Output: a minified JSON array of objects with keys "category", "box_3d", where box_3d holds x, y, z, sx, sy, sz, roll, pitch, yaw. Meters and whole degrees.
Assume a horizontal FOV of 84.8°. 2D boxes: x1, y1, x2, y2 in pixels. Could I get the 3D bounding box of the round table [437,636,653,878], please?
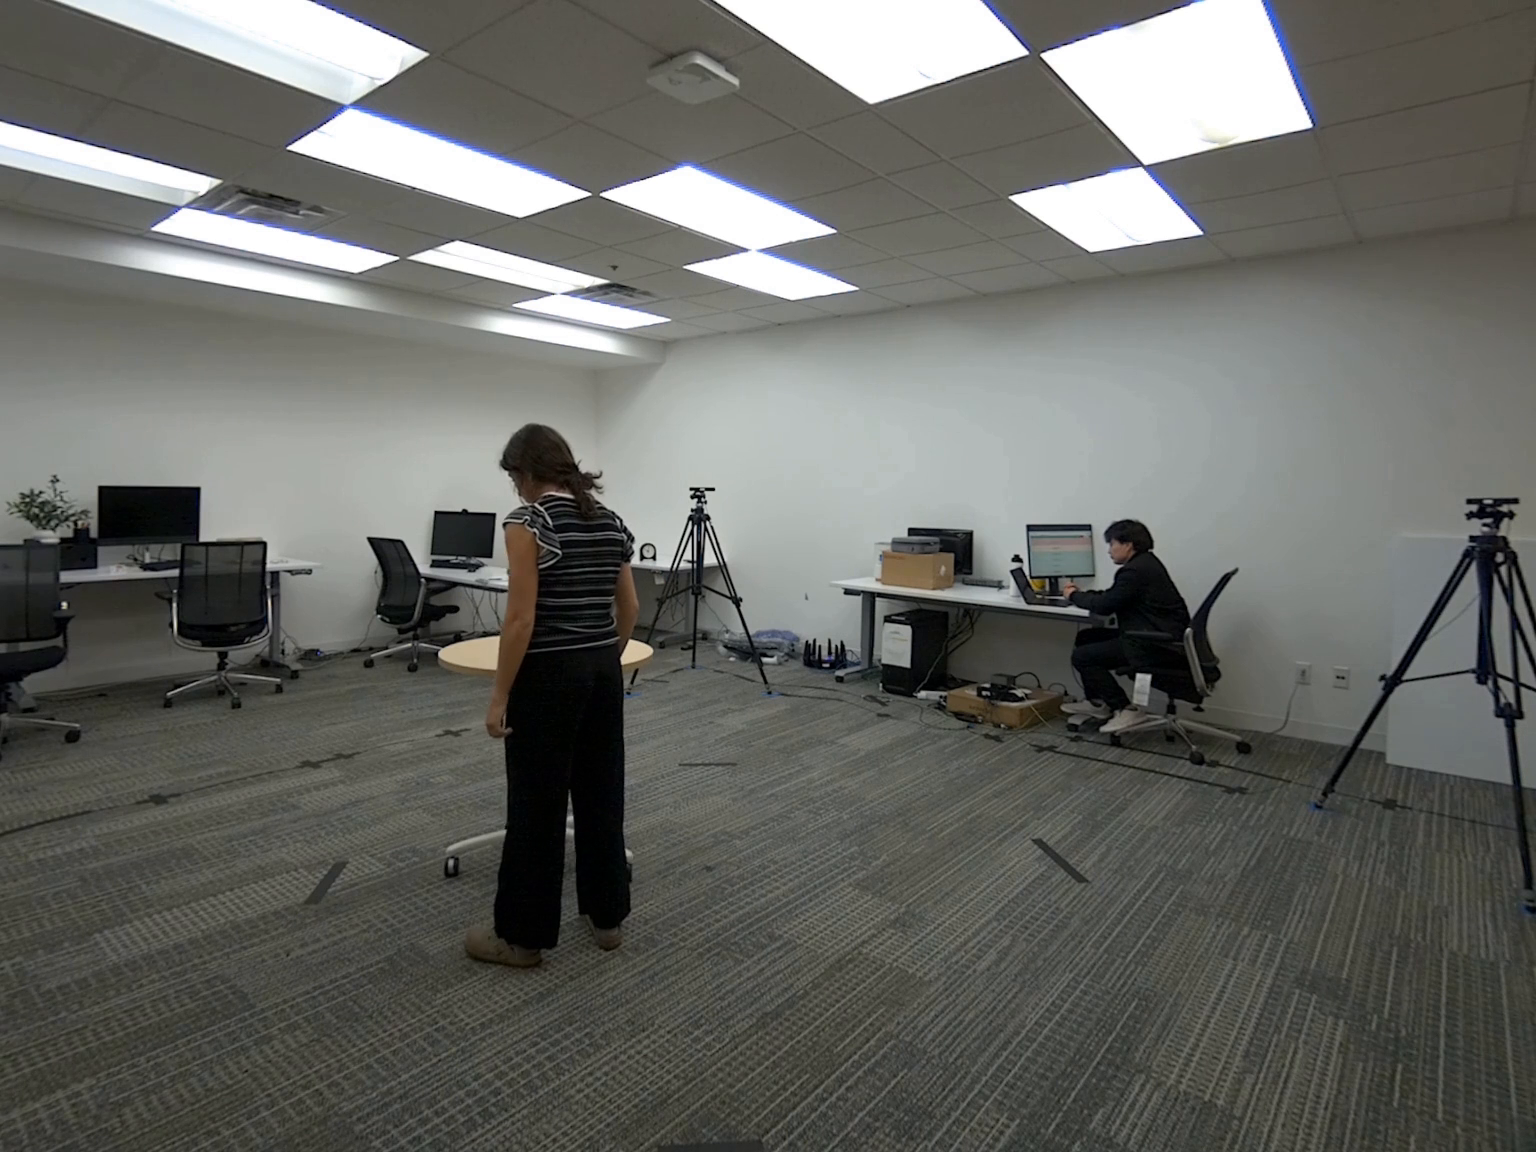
[{"category":"round table","box_3d":[-0.817,0.663,3.110,0.763,0.792,0.767,1,4,-2]}]
